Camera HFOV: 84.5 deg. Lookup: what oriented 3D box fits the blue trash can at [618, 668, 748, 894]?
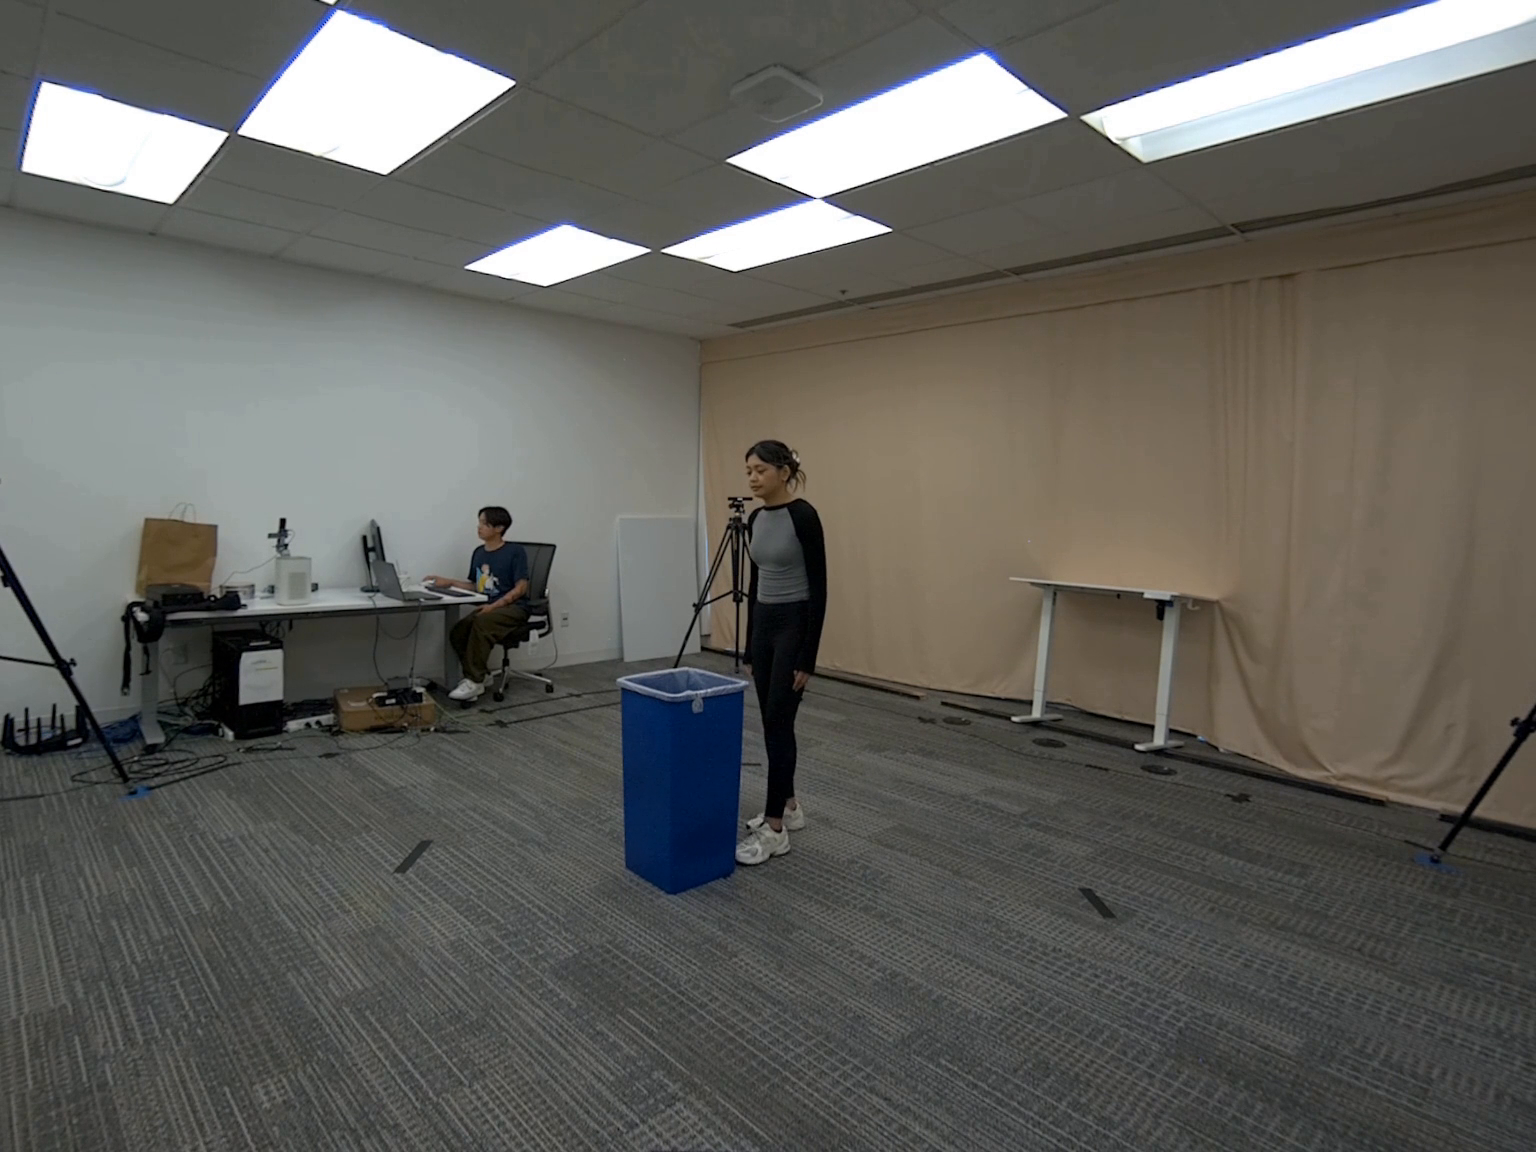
[{"bbox_3d":[-0.336,0.743,3.134,0.369,0.712,0.384,-1,4,-42],"label":"blue trash can"}]
